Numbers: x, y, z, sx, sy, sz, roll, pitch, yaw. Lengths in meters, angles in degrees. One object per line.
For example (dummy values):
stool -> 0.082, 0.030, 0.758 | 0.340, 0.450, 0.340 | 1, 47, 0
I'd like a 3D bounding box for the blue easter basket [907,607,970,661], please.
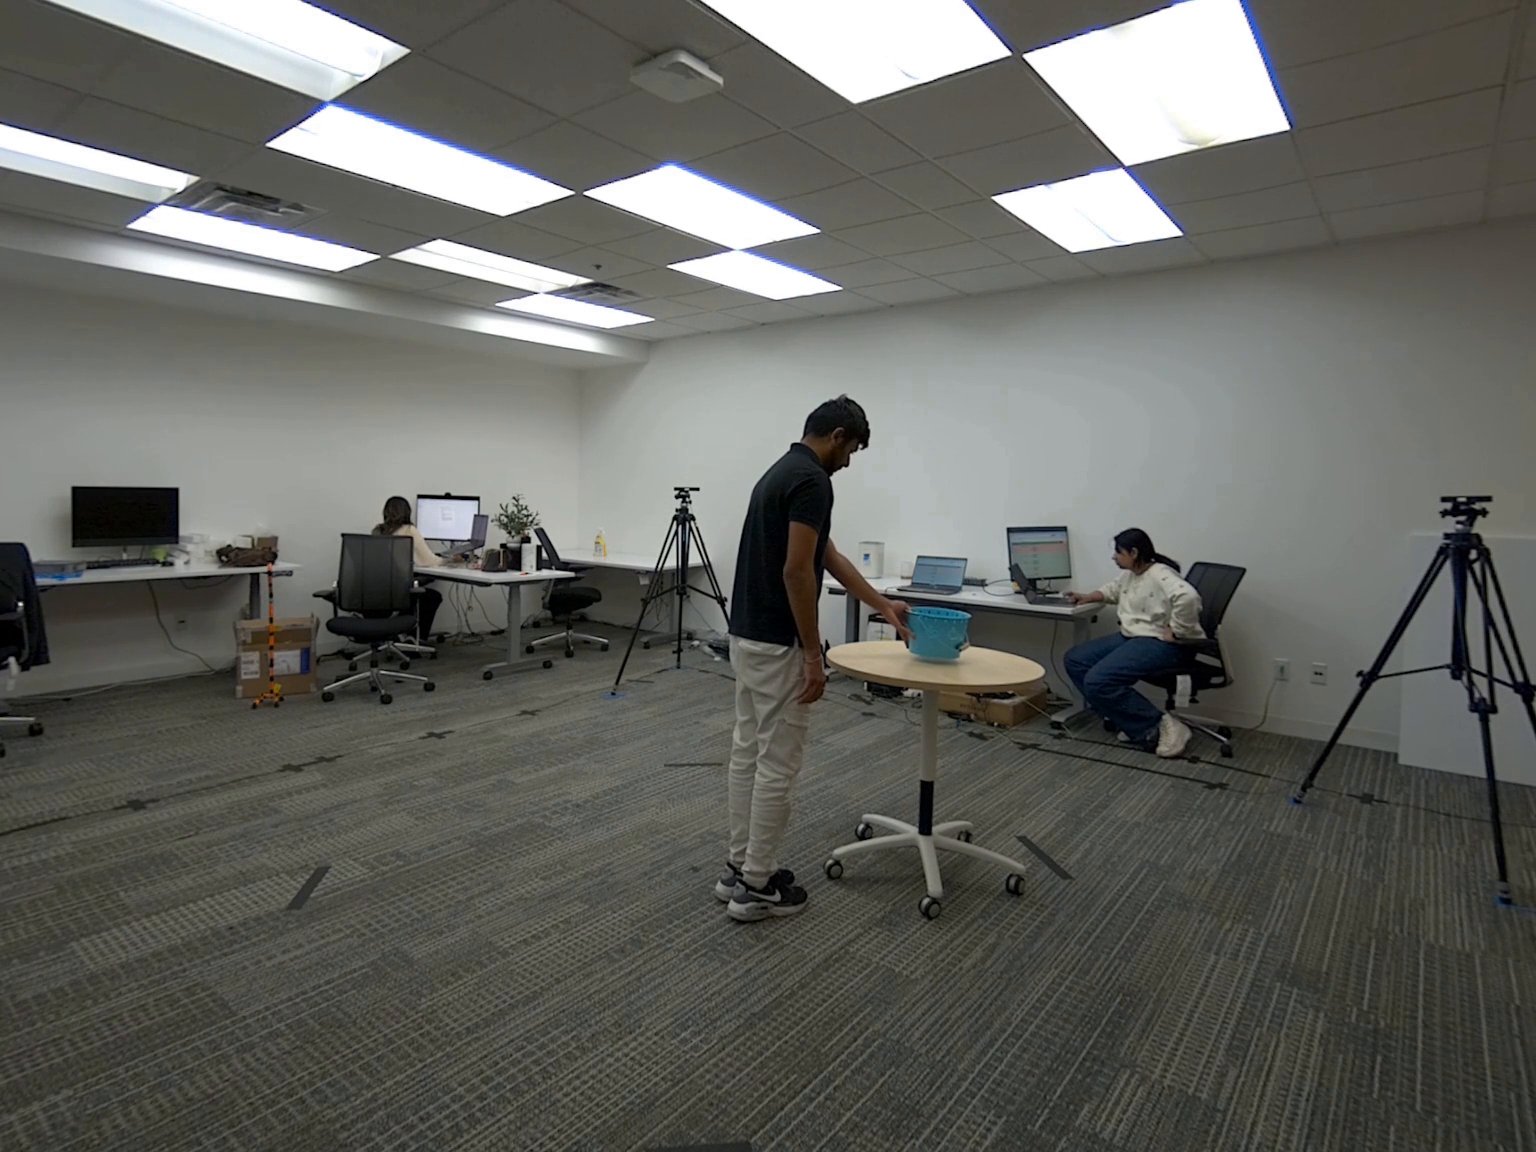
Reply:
blue easter basket -> 0.610, 0.207, 3.080 | 0.243, 0.155, 0.245 | 2, 5, -2
